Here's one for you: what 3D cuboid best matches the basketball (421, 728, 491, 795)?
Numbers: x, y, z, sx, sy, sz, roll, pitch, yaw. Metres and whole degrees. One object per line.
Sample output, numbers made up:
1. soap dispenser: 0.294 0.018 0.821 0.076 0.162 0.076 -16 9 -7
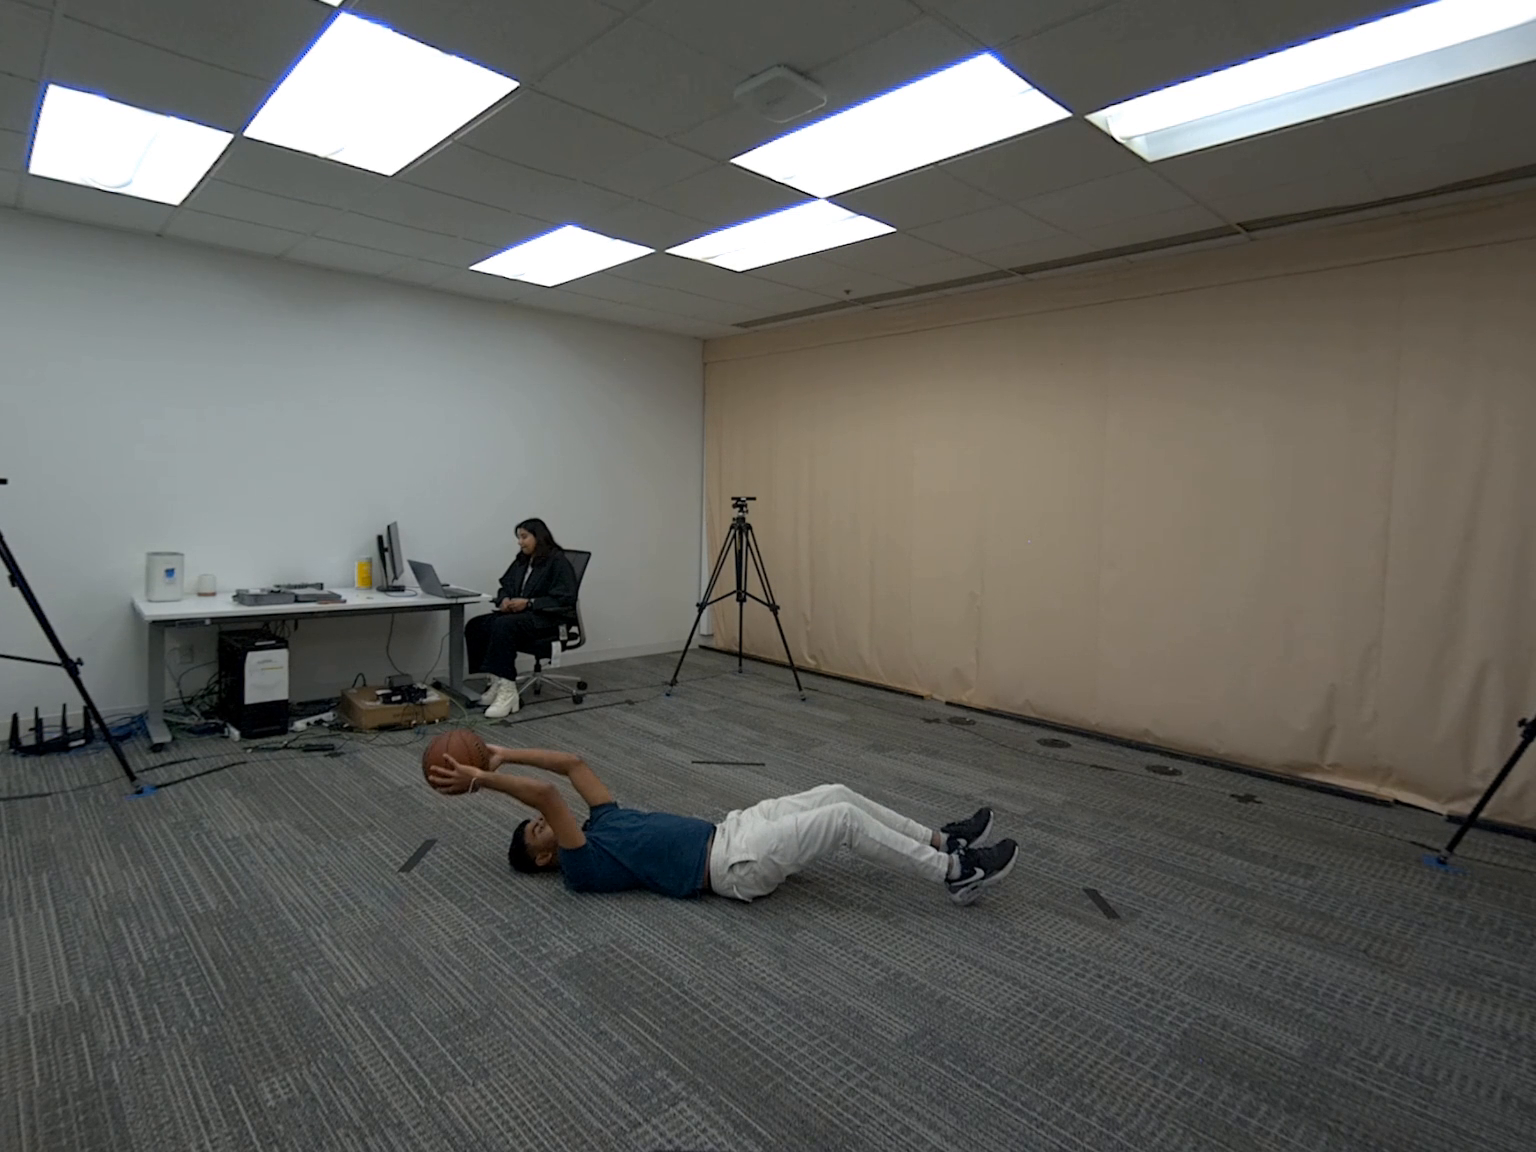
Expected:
1. basketball: -1.153 0.686 3.109 0.236 0.235 0.237 1 4 -1
